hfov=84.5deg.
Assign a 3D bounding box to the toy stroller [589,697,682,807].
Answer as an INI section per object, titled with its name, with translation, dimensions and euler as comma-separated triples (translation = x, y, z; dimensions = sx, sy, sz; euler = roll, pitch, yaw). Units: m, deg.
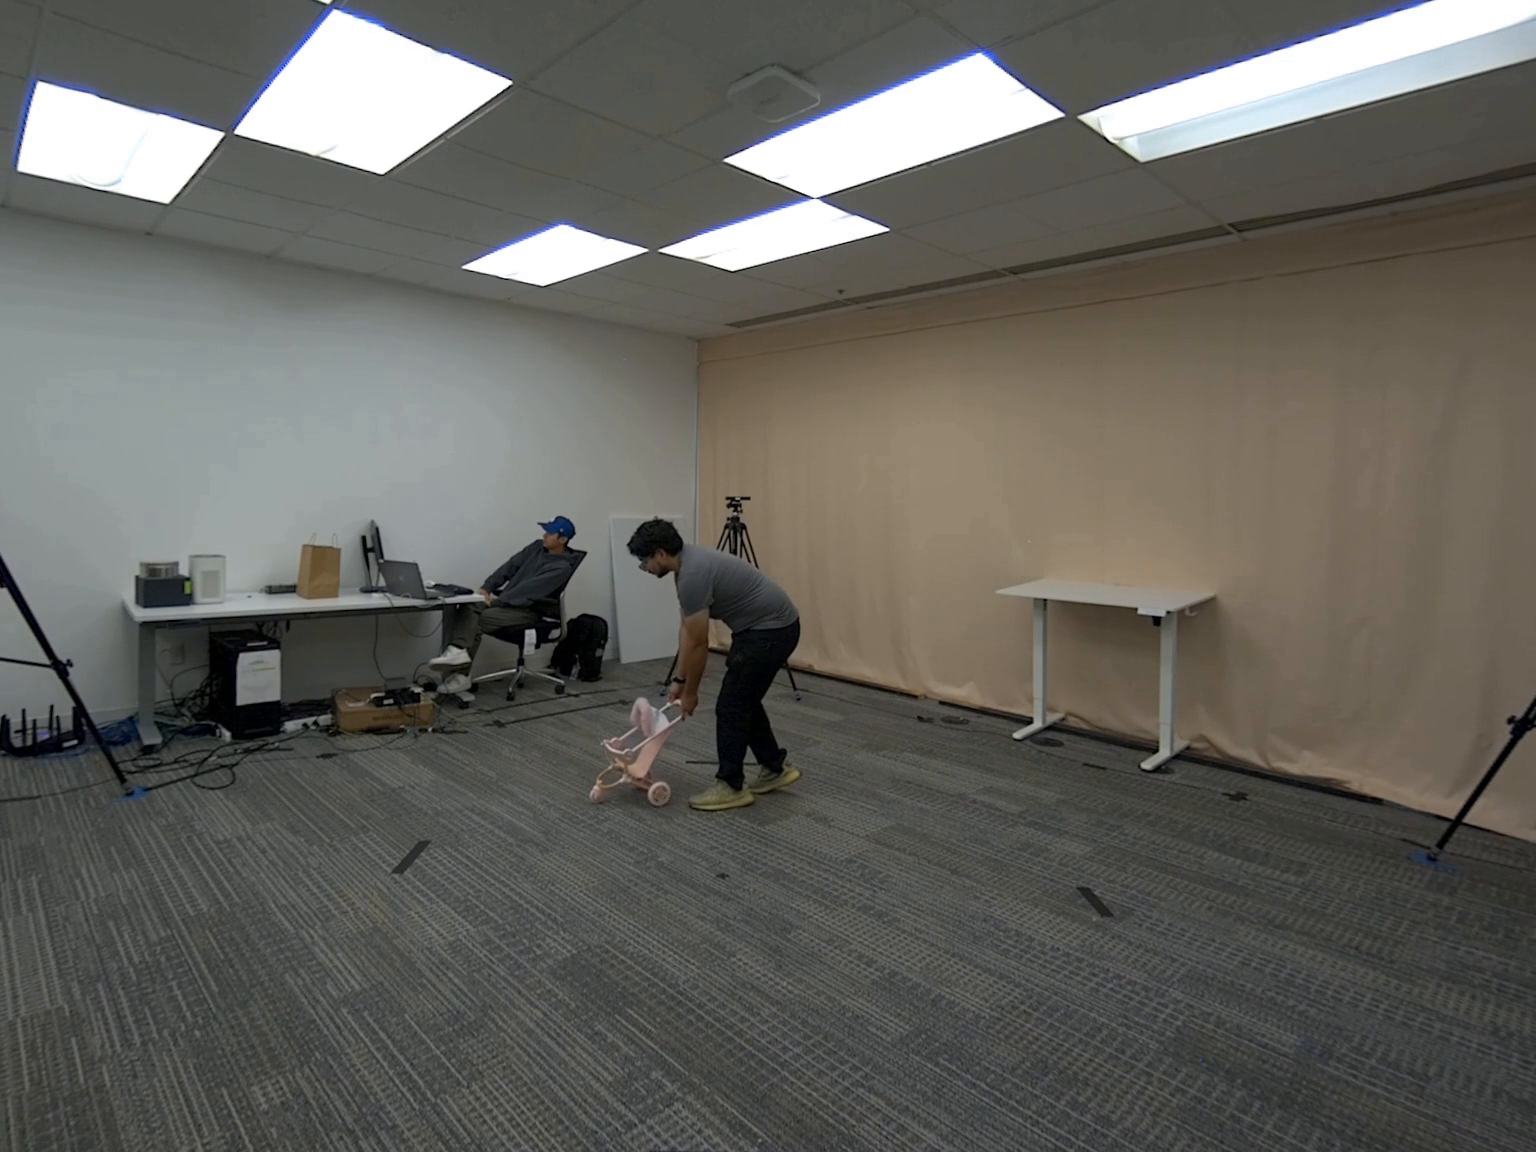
[toy stroller]
translation = -0.609, 0.802, 3.875
dimensions = 0.335, 0.535, 0.286
euler = 16, -2, -21
